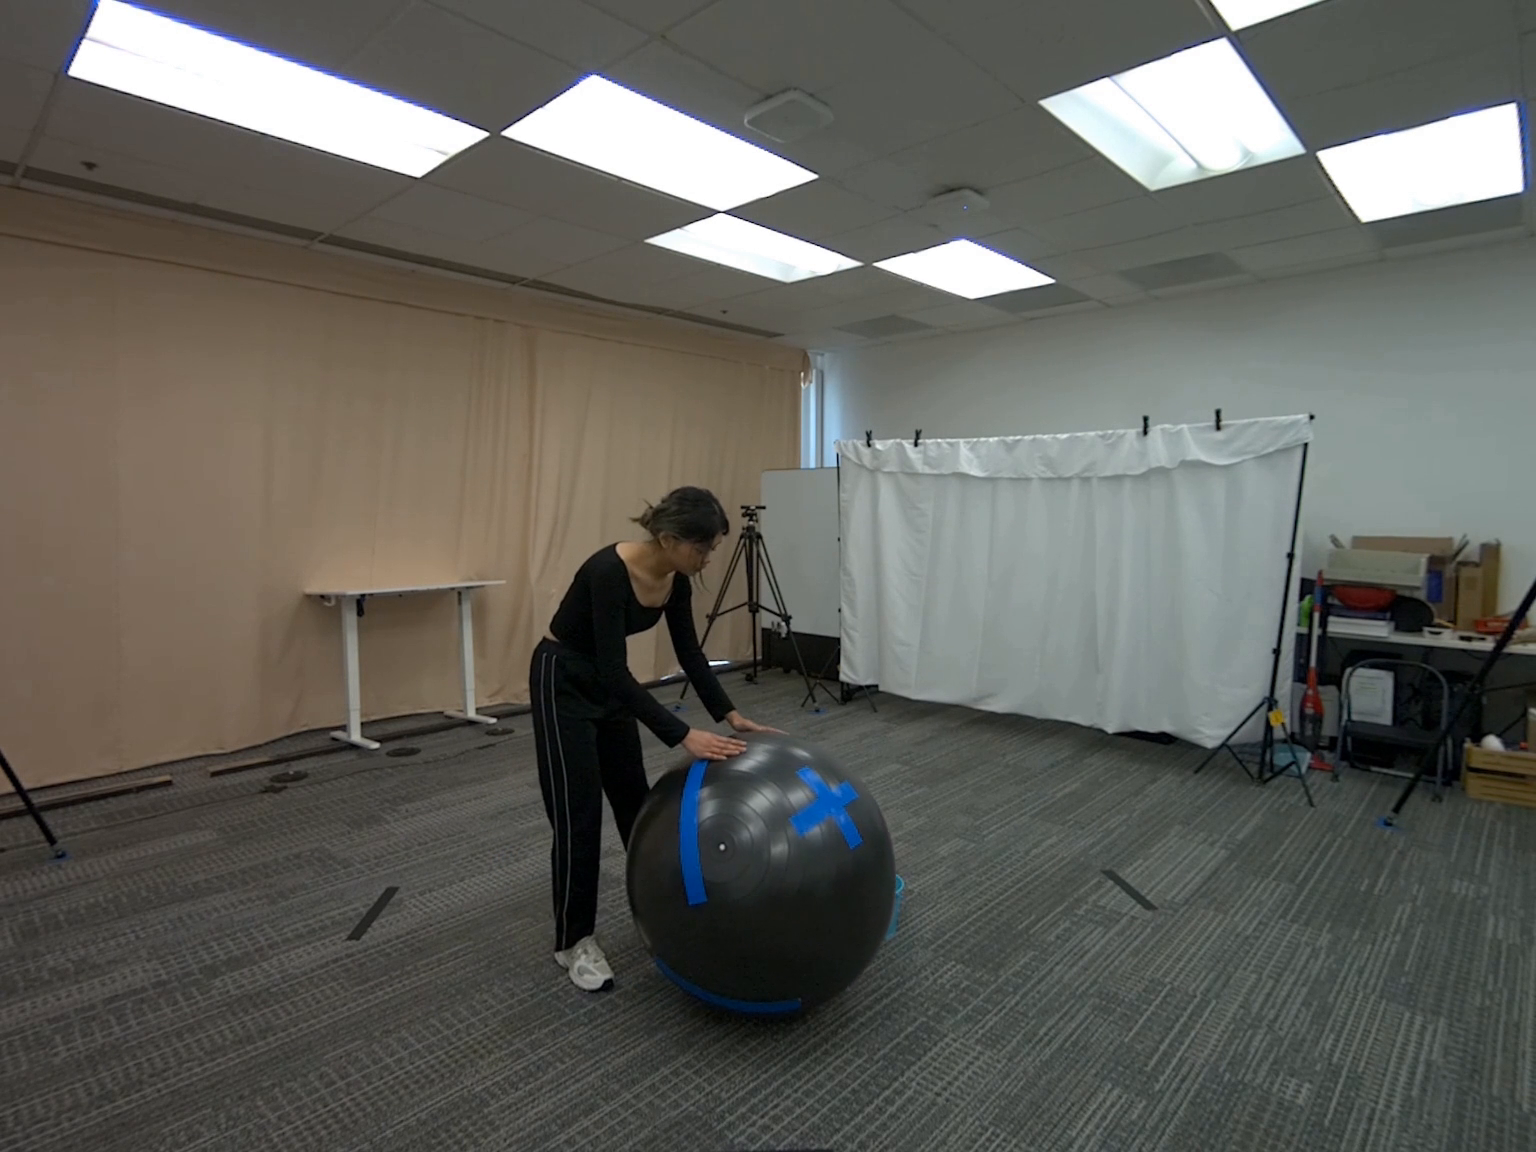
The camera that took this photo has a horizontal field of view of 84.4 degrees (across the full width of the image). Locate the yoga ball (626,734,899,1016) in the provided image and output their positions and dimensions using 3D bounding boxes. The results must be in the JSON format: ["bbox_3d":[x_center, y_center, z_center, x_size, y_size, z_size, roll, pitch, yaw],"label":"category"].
[{"bbox_3d":[-0.015,0.833,2.386,0.757,0.756,0.760,0,4,-2],"label":"yoga ball"}]
